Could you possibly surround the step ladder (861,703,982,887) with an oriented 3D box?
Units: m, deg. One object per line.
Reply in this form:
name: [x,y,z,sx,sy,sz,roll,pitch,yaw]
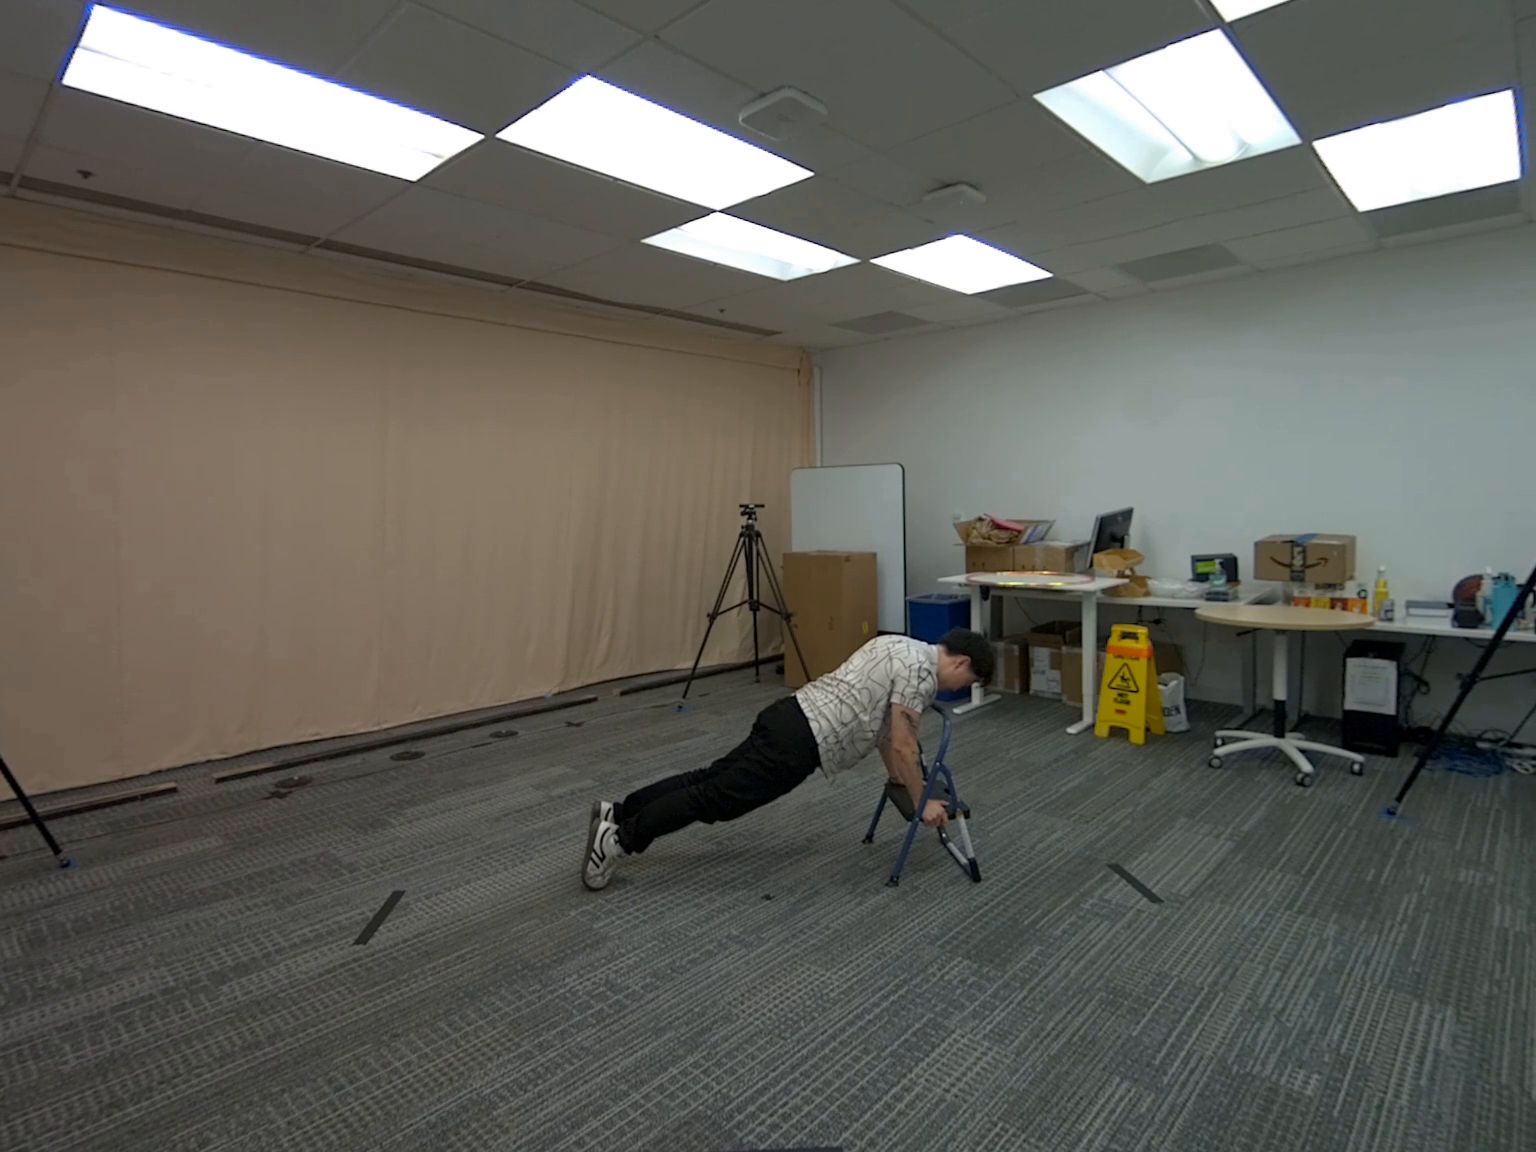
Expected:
step ladder: [0.586,0.808,3.248,0.348,0.604,0.434,-2,4,-5]
